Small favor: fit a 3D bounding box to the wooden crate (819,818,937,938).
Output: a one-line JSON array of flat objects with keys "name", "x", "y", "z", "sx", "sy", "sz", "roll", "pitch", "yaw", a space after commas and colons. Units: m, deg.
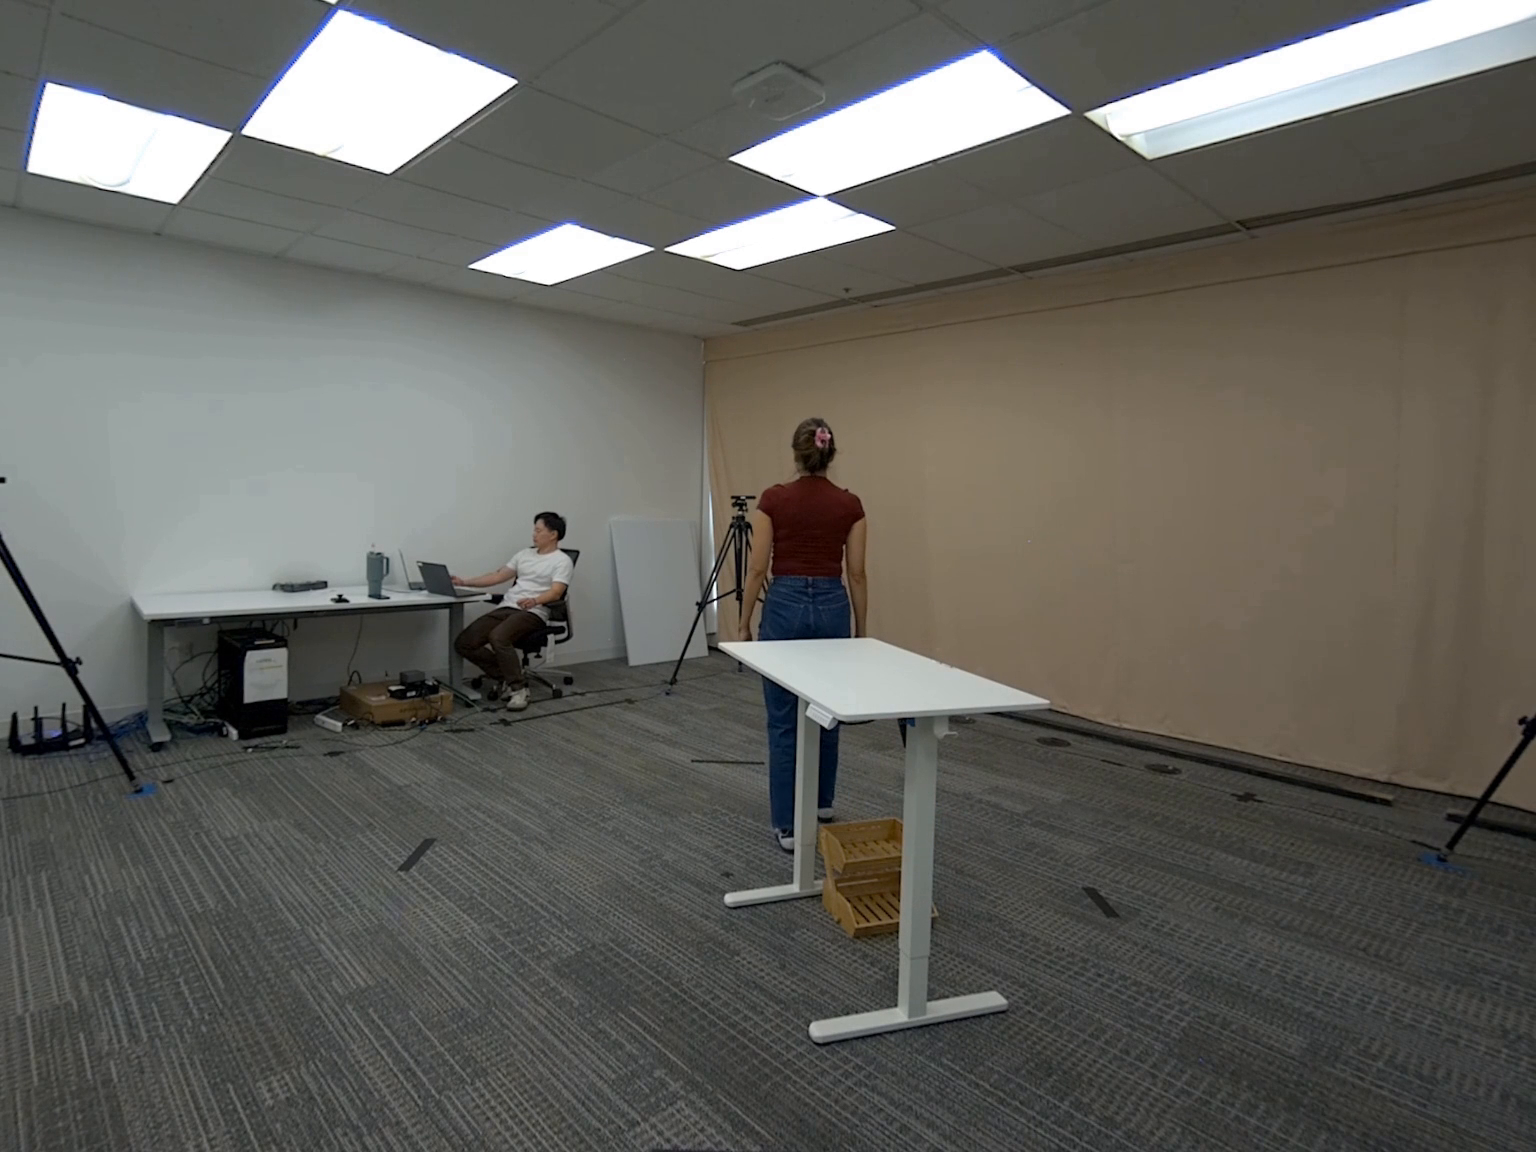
[{"name": "wooden crate", "x": 0.361, "y": 1.007, "z": 2.829, "sx": 0.320, "sy": 0.272, "sz": 0.307, "roll": -1, "pitch": 5, "yaw": -19}]
